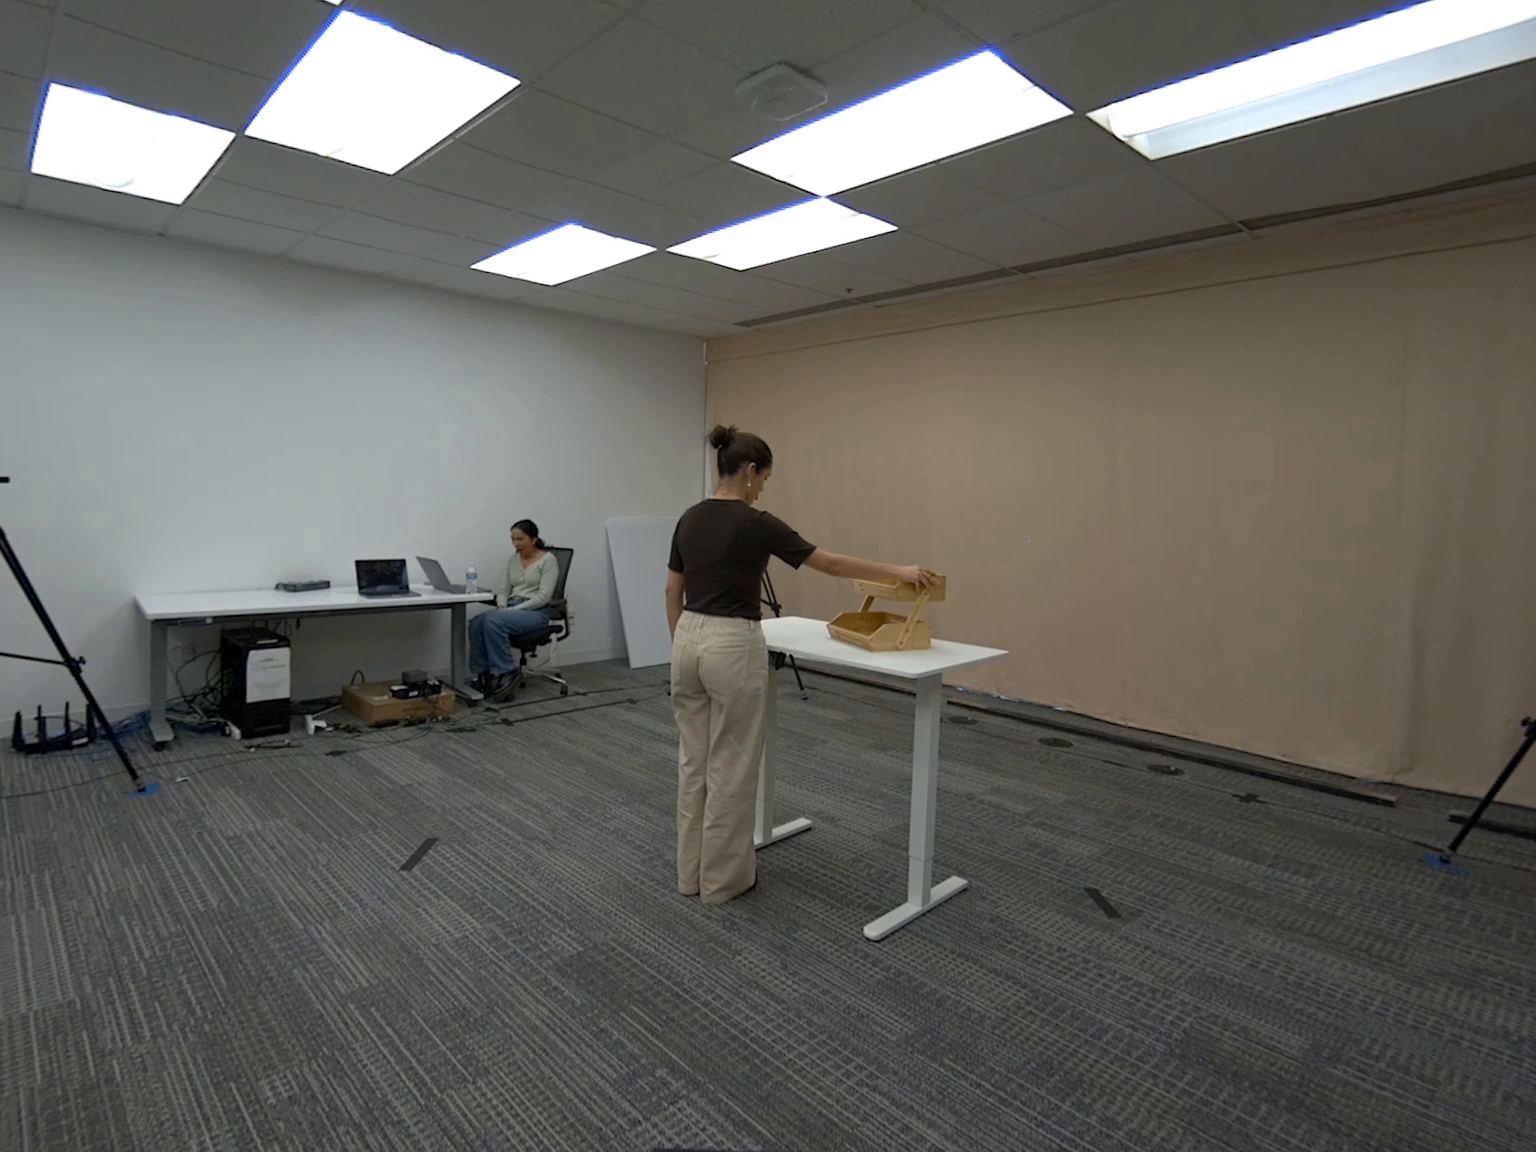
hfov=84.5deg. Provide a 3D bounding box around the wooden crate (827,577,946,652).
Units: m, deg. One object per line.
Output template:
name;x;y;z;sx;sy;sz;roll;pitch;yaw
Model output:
wooden crate;0.416;0.110;3.026;0.297;0.272;0.331;1;5;-23
